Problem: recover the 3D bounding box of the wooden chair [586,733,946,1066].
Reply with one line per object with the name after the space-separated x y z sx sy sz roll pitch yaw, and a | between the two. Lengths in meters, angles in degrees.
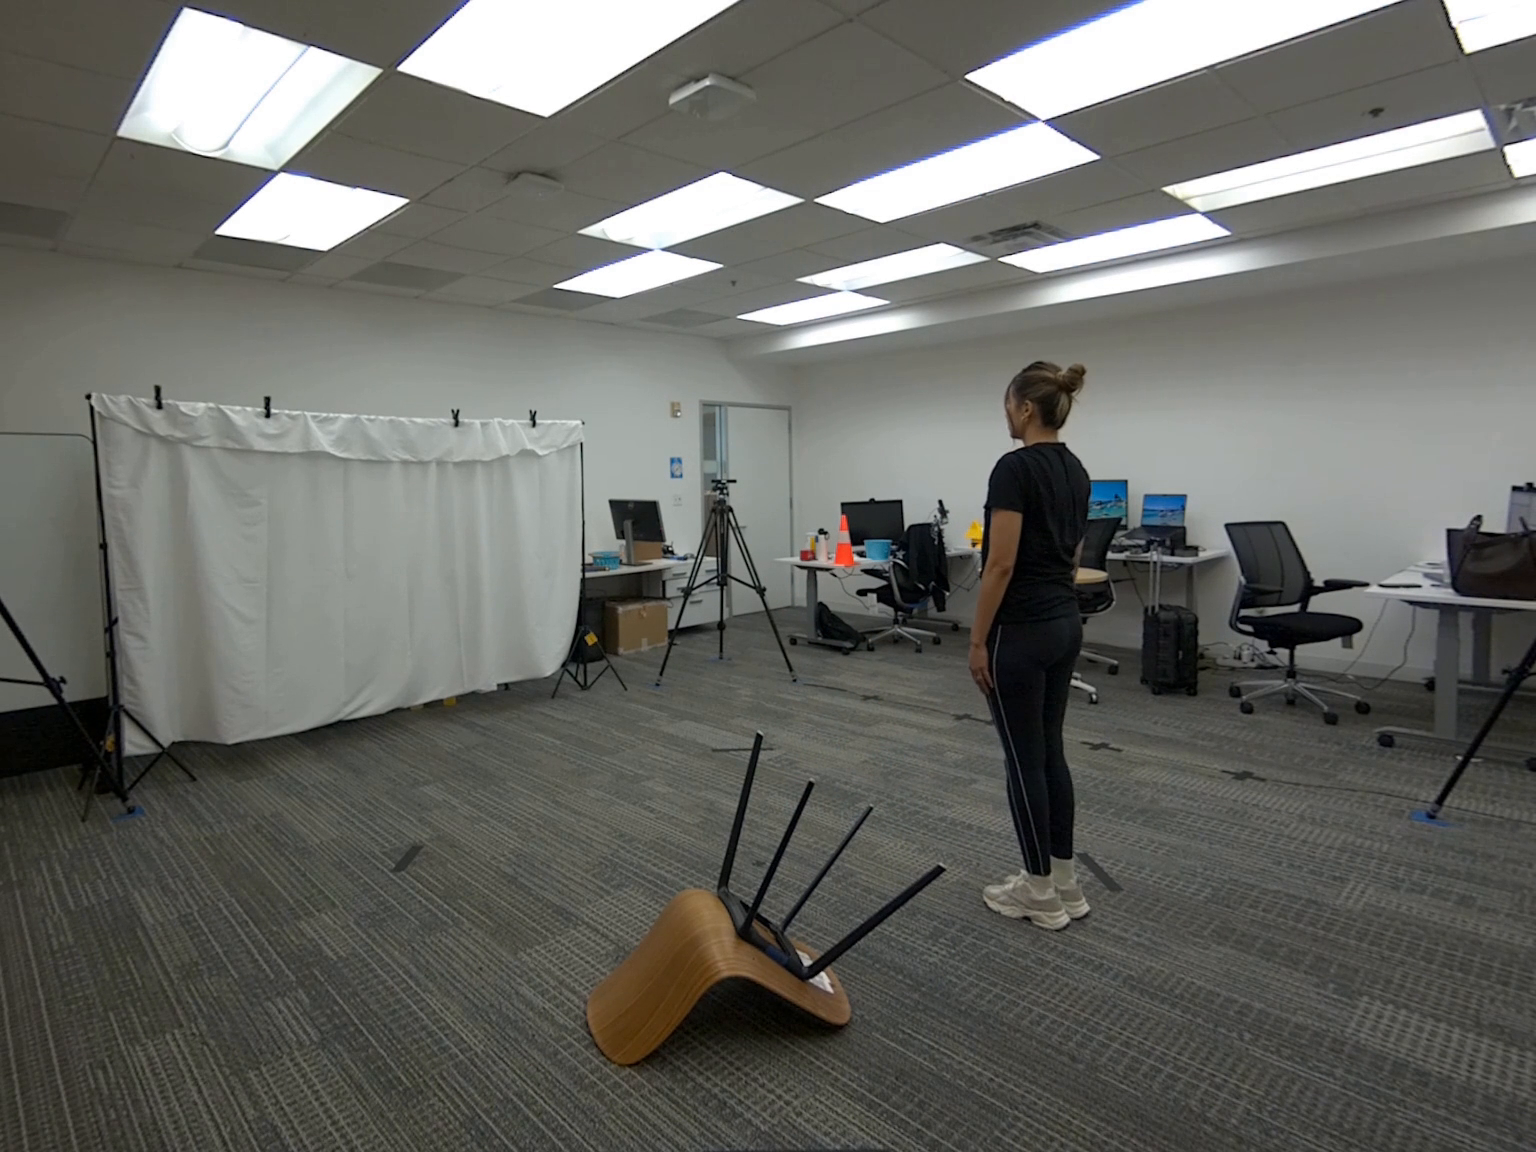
-0.007 0.969 2.312 0.513 0.878 0.487 39 -7 -16 | wooden chair
